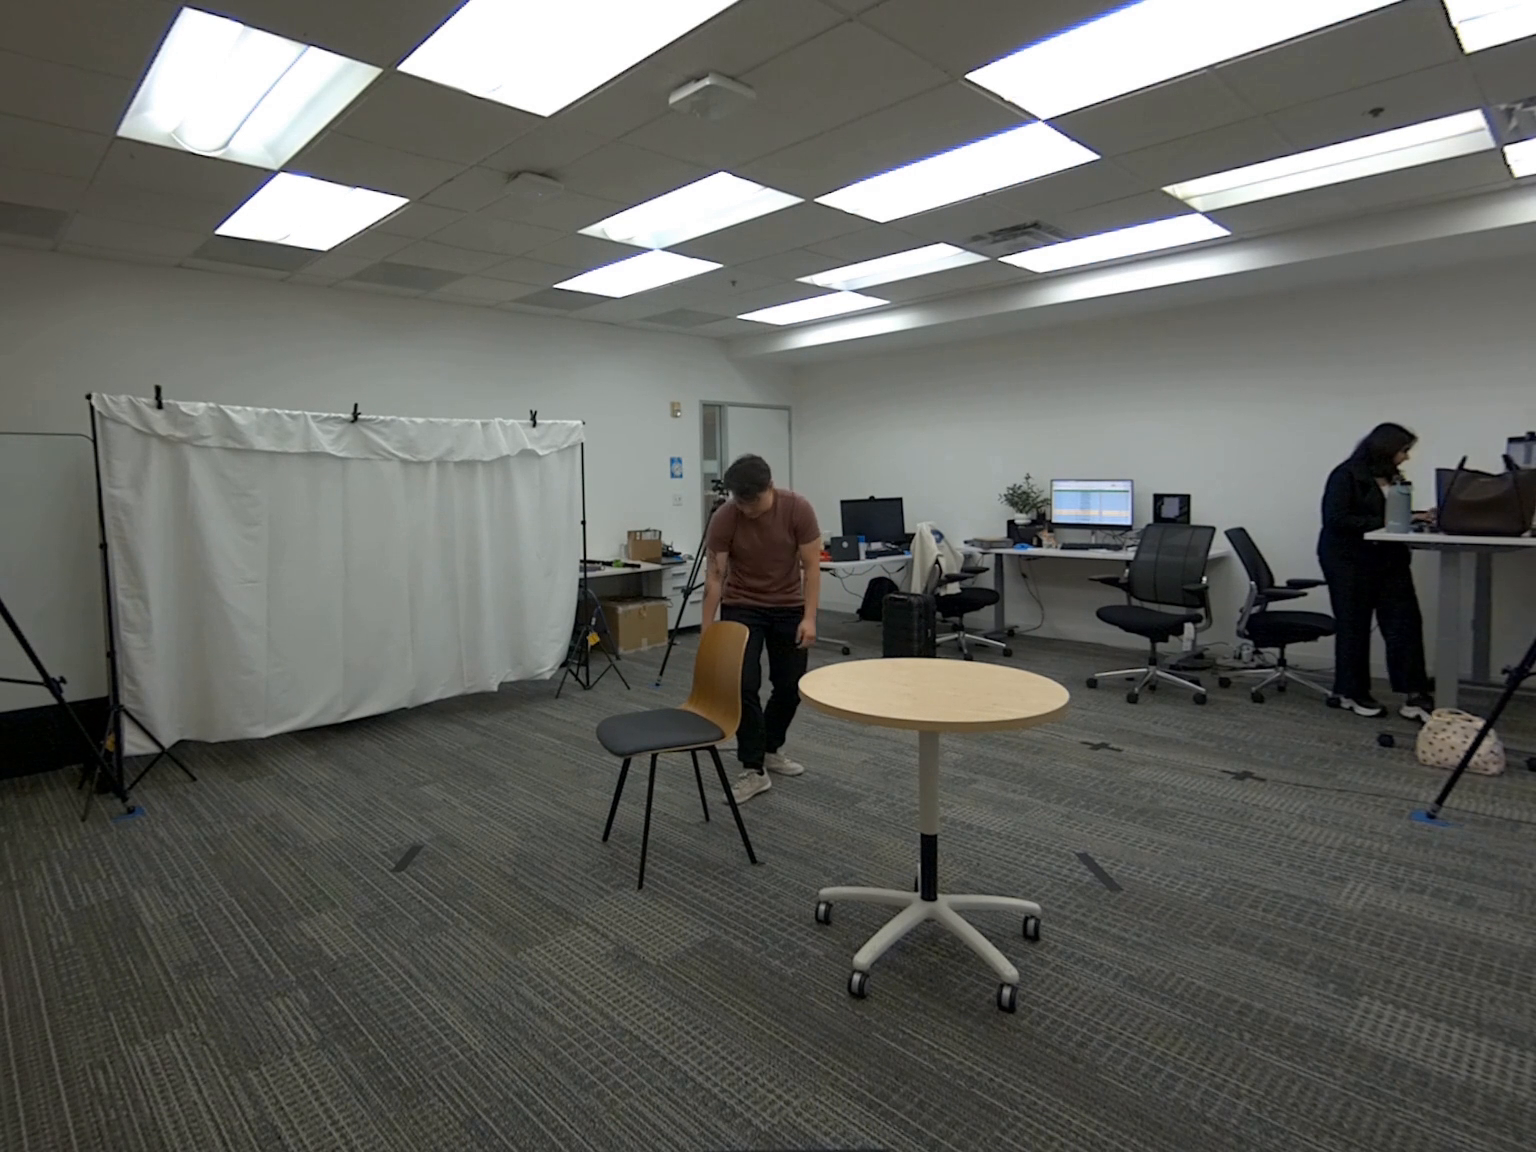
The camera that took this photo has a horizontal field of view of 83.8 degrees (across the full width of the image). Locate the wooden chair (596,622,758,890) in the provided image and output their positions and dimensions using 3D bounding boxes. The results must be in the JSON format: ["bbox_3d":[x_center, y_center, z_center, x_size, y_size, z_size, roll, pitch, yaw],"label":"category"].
[{"bbox_3d":[-0.356,0.621,3.179,0.511,0.875,0.490,2,3,-26],"label":"wooden chair"}]
